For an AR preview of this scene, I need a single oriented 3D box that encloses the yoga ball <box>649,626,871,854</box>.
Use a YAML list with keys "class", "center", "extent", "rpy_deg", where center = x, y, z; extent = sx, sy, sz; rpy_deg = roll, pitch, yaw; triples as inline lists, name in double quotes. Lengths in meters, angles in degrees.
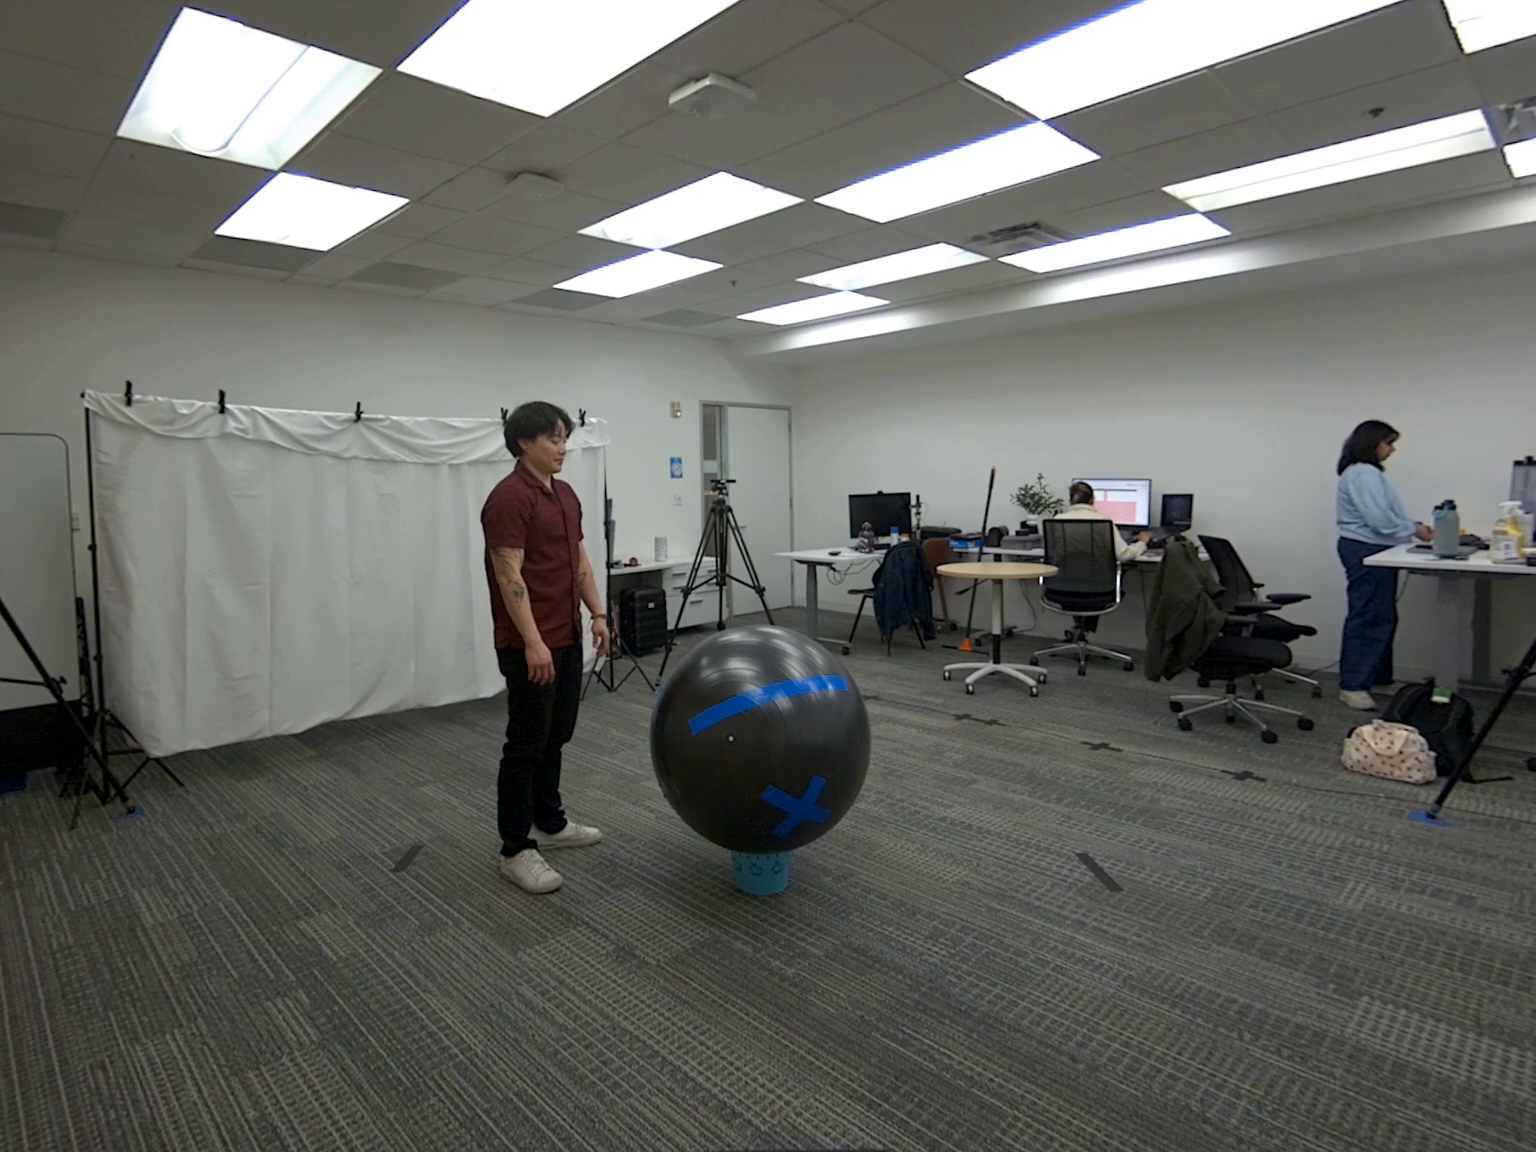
- class: "yoga ball"
  center: [-0.025, 0.553, 2.941]
  extent: [0.757, 0.755, 0.762]
  rpy_deg: [-1, 5, -2]
